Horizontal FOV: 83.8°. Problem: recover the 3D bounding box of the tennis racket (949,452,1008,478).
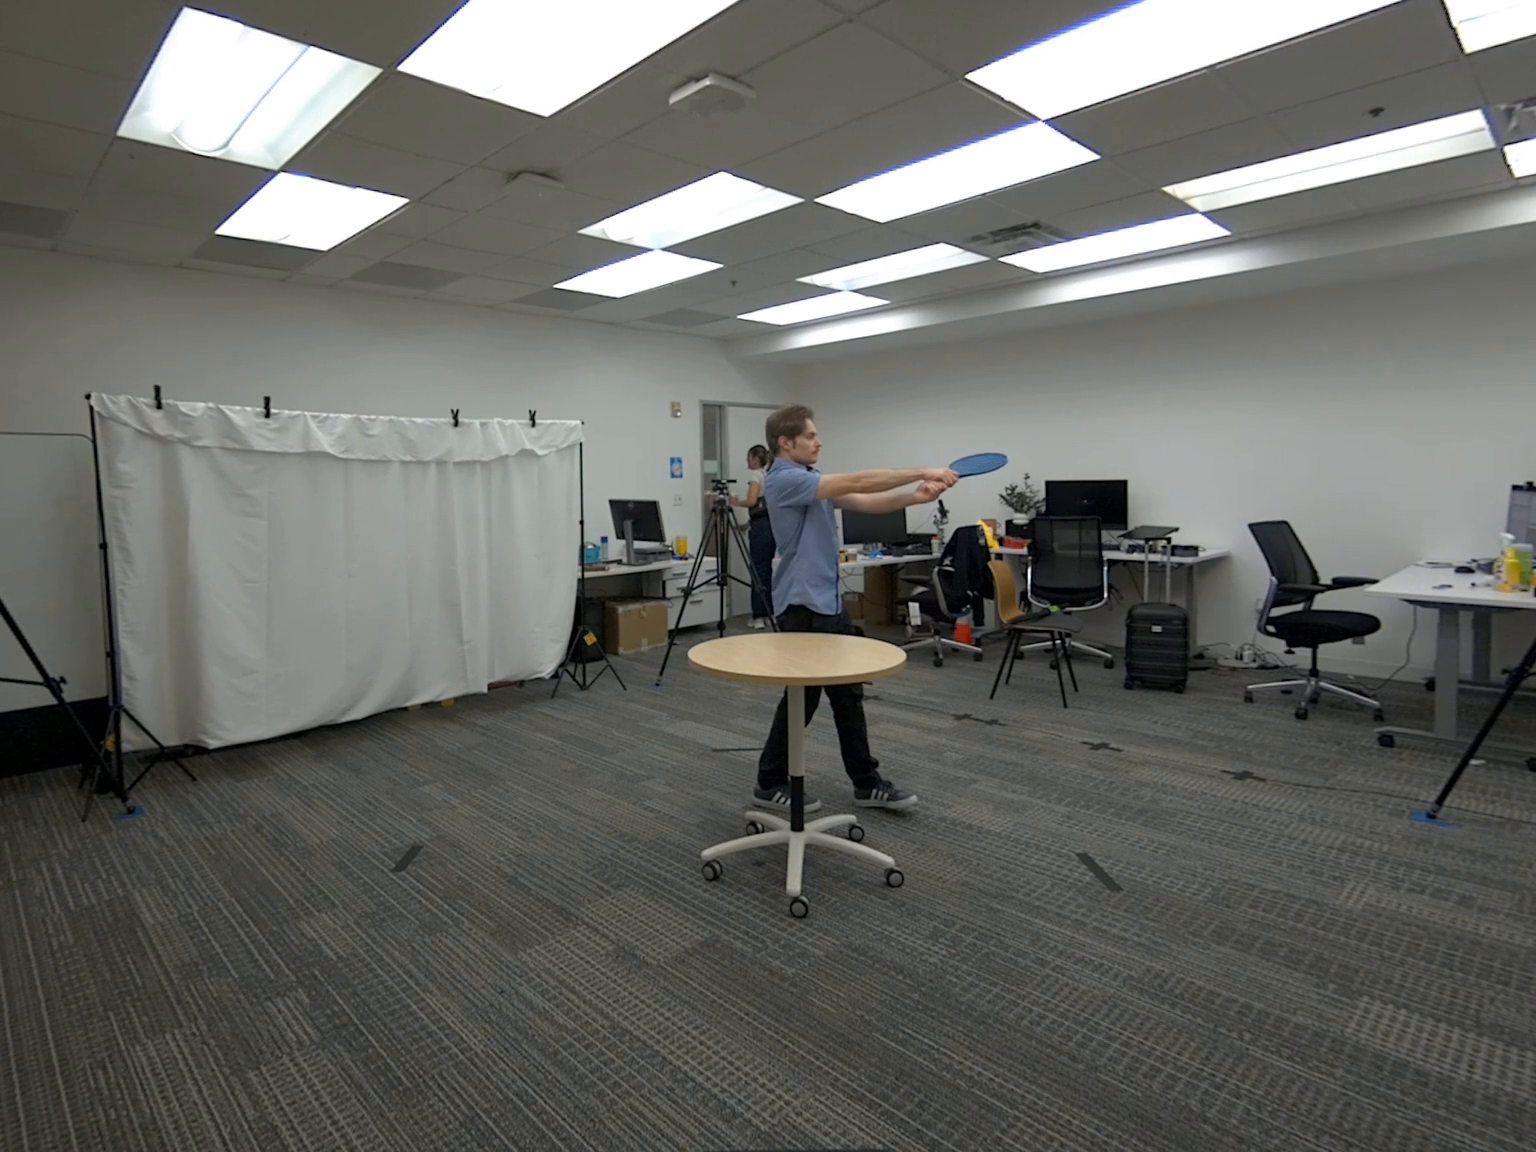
[{"bbox_3d":[0.783,-0.421,3.385,0.428,0.031,0.221,-27,28,-28],"label":"tennis racket"}]
